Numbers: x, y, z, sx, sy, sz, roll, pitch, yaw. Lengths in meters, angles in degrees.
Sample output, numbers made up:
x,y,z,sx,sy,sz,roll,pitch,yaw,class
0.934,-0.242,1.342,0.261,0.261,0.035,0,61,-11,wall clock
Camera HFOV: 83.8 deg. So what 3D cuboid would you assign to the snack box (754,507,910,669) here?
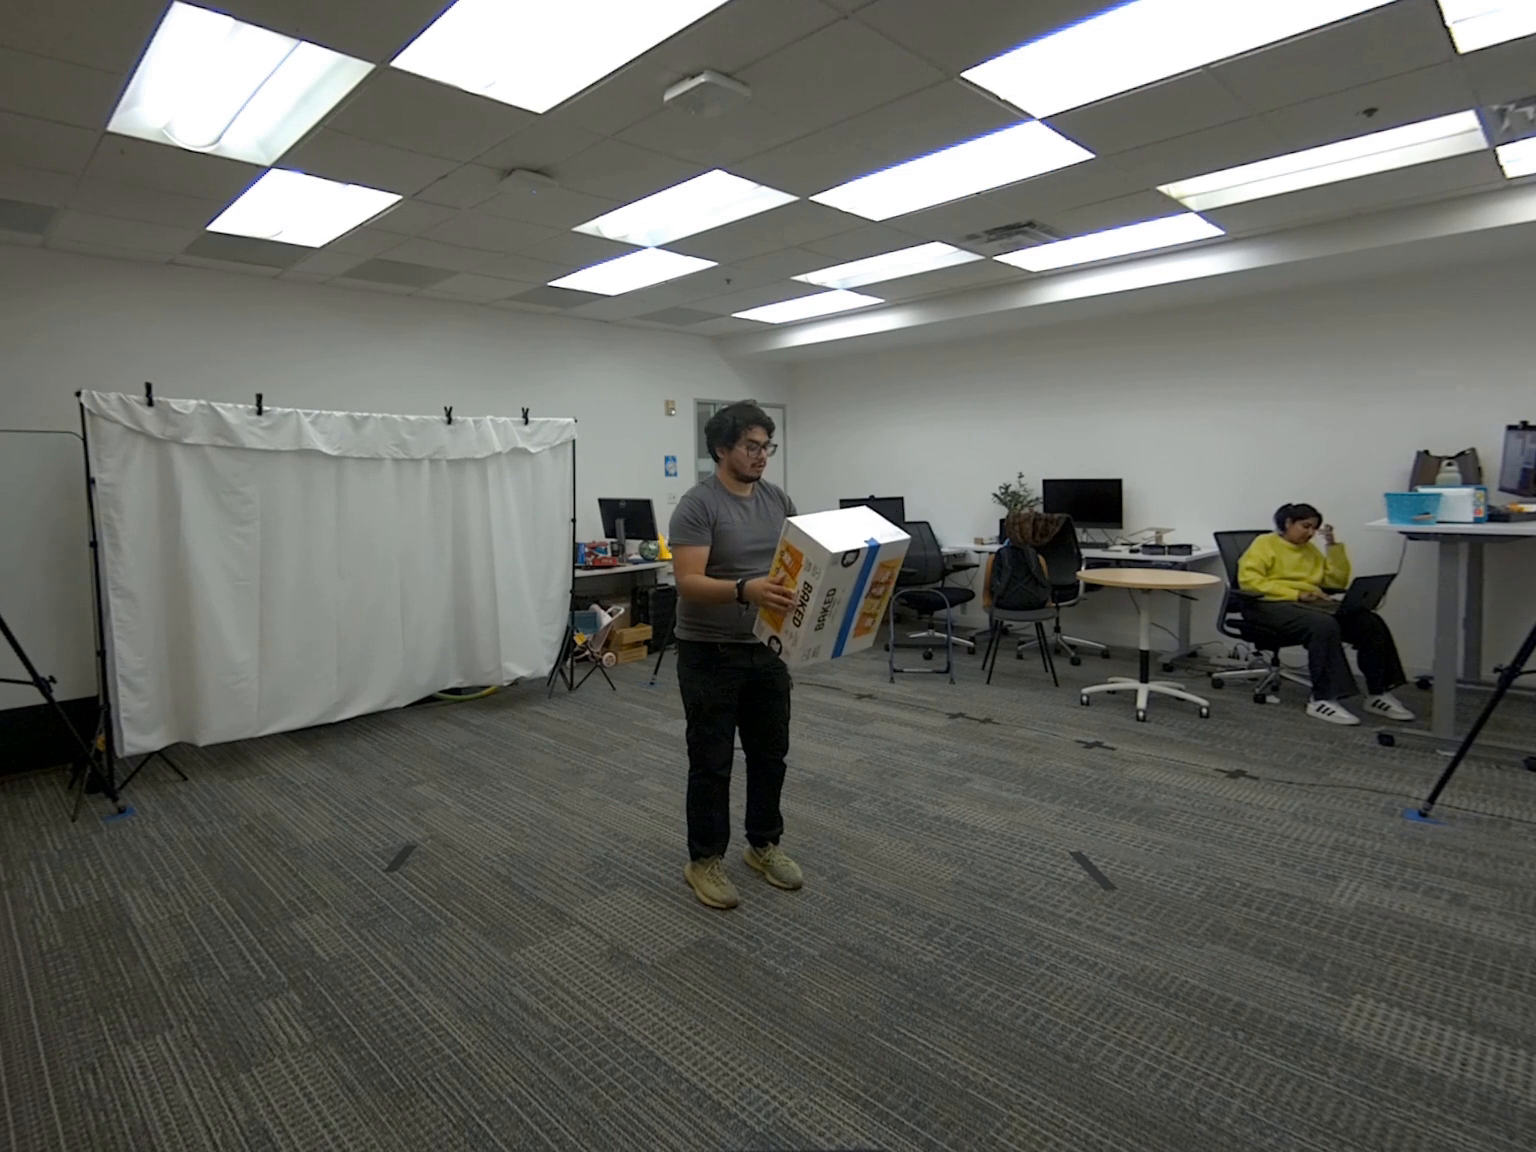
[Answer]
x,y,z,sx,sy,sz,roll,pitch,yaw,class
0.186,0.027,2.562,0.332,0.399,0.214,-11,37,-40,snack box
